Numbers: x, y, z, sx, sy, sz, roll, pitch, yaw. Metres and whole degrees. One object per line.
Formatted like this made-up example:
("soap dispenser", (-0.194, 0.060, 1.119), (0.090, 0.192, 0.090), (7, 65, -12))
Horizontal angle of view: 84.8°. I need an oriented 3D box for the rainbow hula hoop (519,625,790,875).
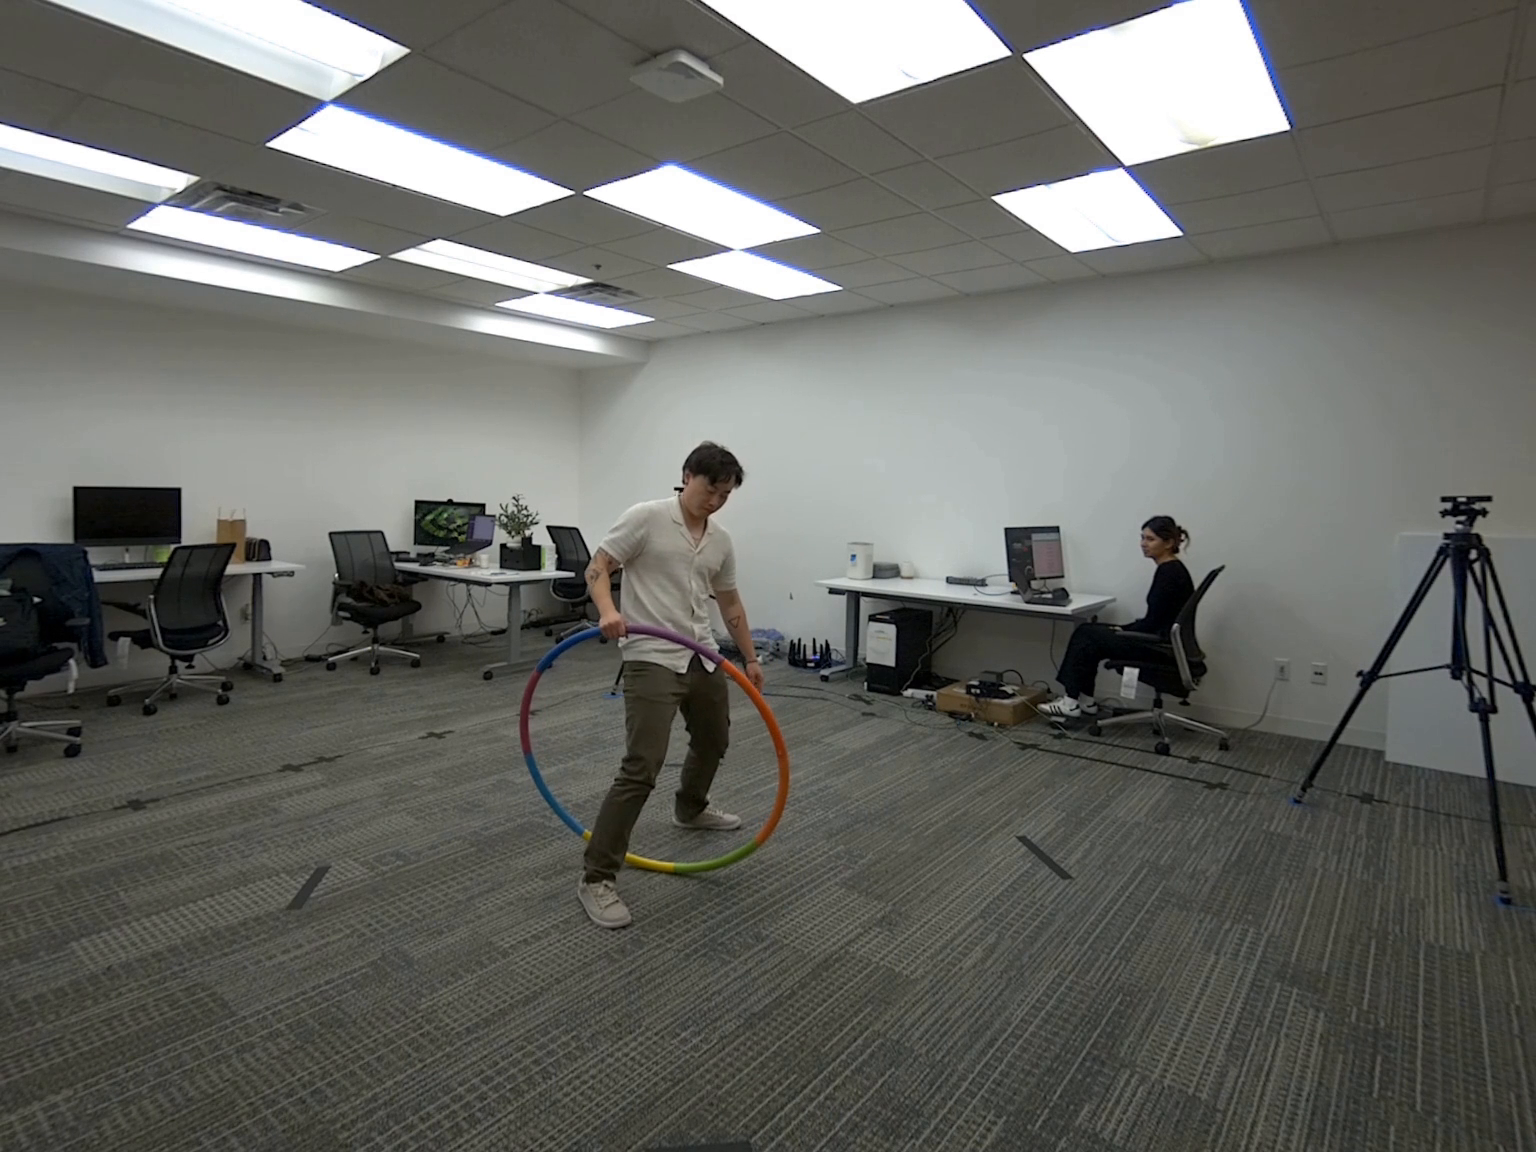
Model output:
("rainbow hula hoop", (-0.424, 0.612, 2.945), (0.997, 0.960, 0.035), (3, 20, 18))
